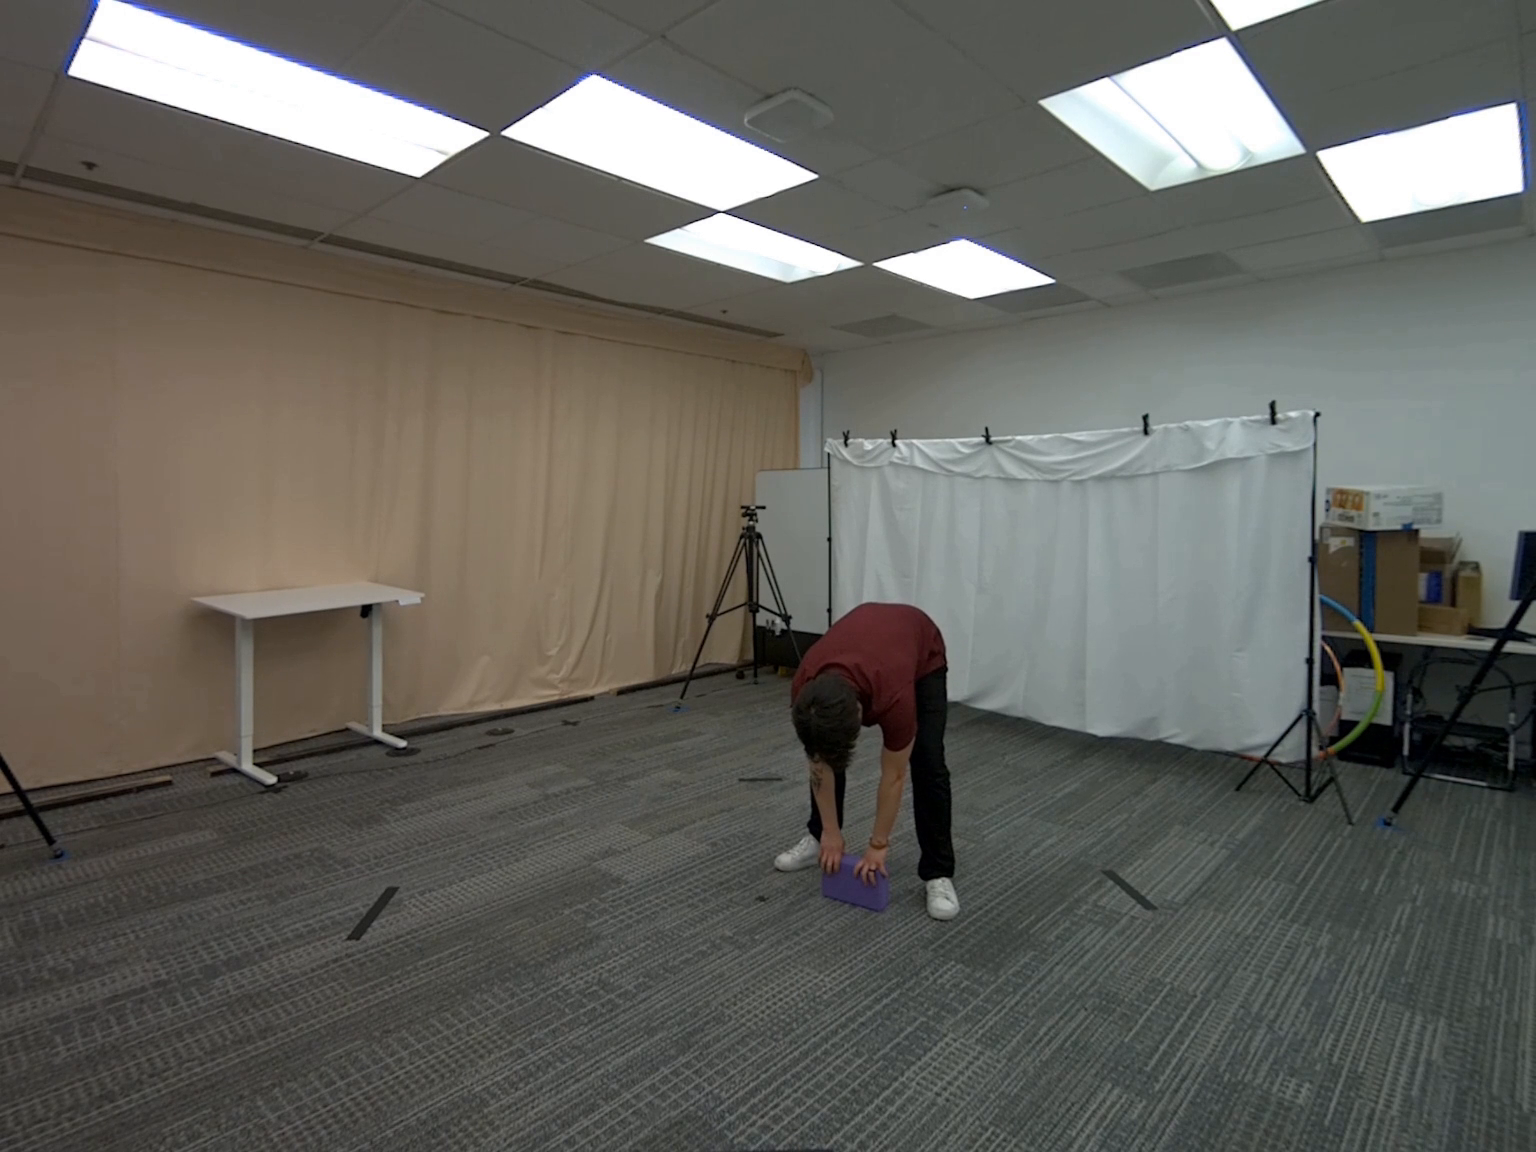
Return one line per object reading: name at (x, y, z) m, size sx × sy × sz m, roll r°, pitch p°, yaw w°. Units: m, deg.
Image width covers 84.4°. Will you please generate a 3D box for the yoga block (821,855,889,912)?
yoga block at (0.315, 1.071, 2.973) m, size 0.236 × 0.149 × 0.074 m, roll 3°, pitch 0°, yaw 33°
